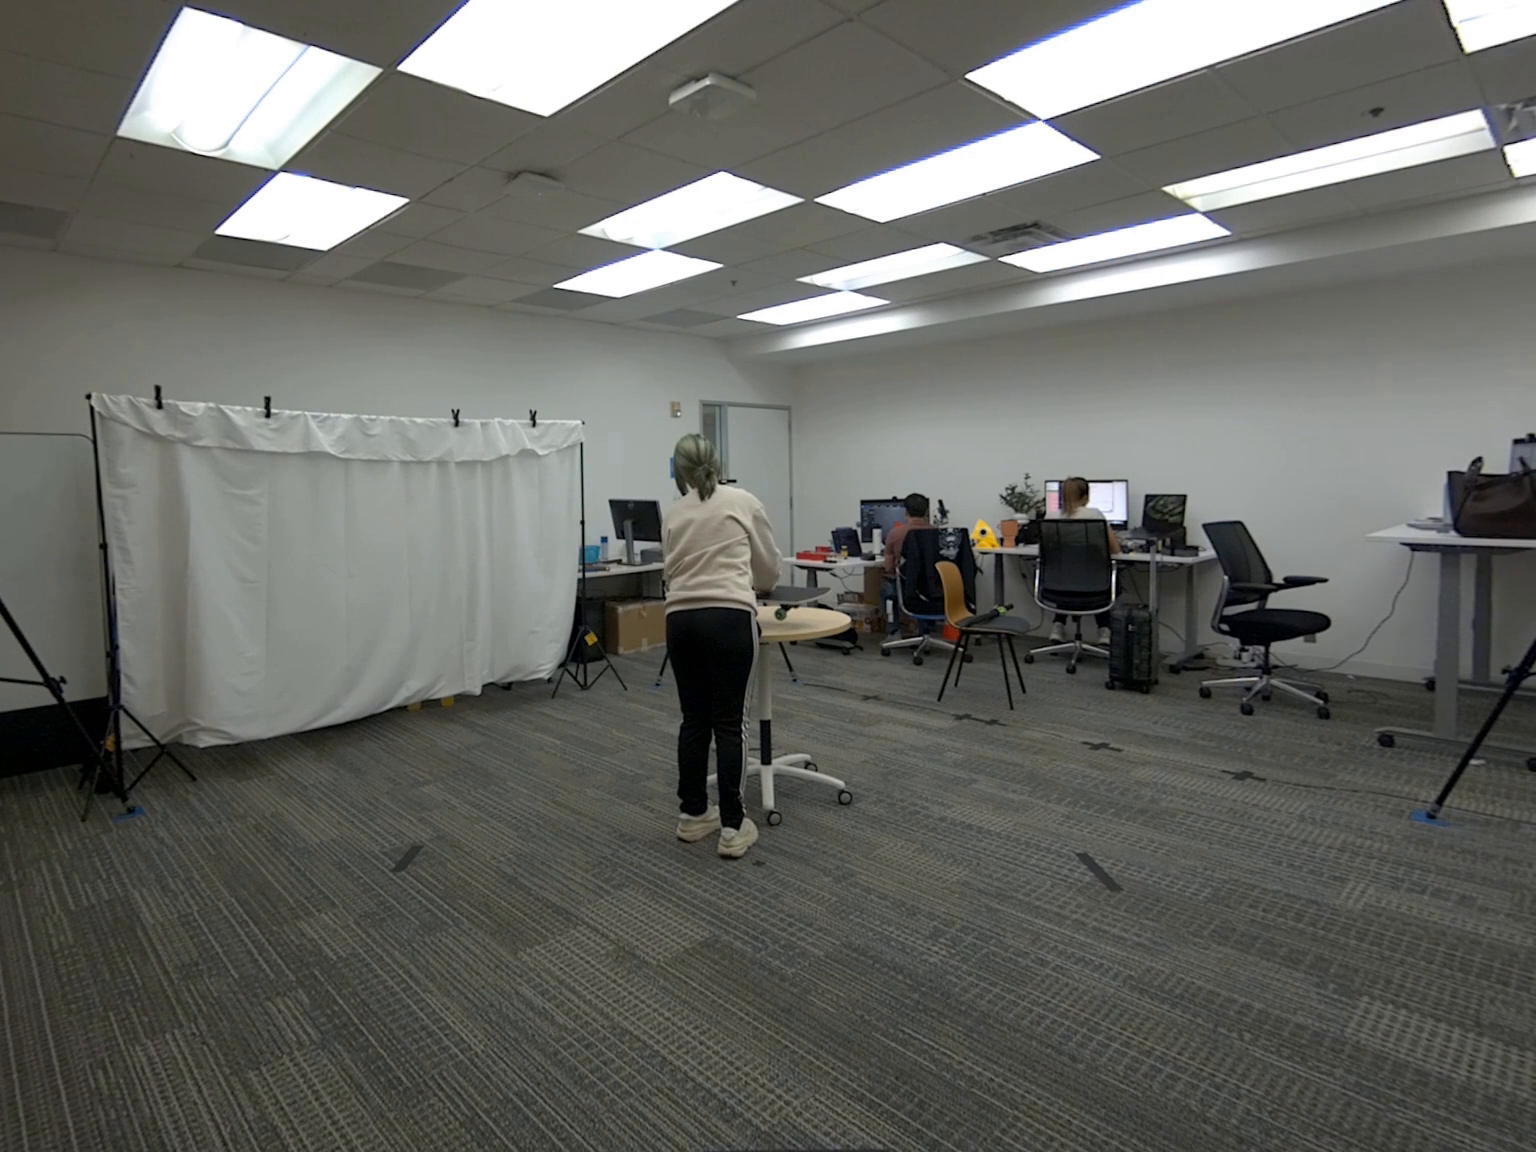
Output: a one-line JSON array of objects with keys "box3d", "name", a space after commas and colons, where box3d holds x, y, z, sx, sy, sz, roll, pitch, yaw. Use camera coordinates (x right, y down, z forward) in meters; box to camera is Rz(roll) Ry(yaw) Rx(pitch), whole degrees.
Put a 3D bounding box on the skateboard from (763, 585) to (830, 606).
[{"box3d": [-0.092, 0.100, 3.683, 0.806, 0.109, 0.191, 3, 16, 29], "name": "skateboard"}]
